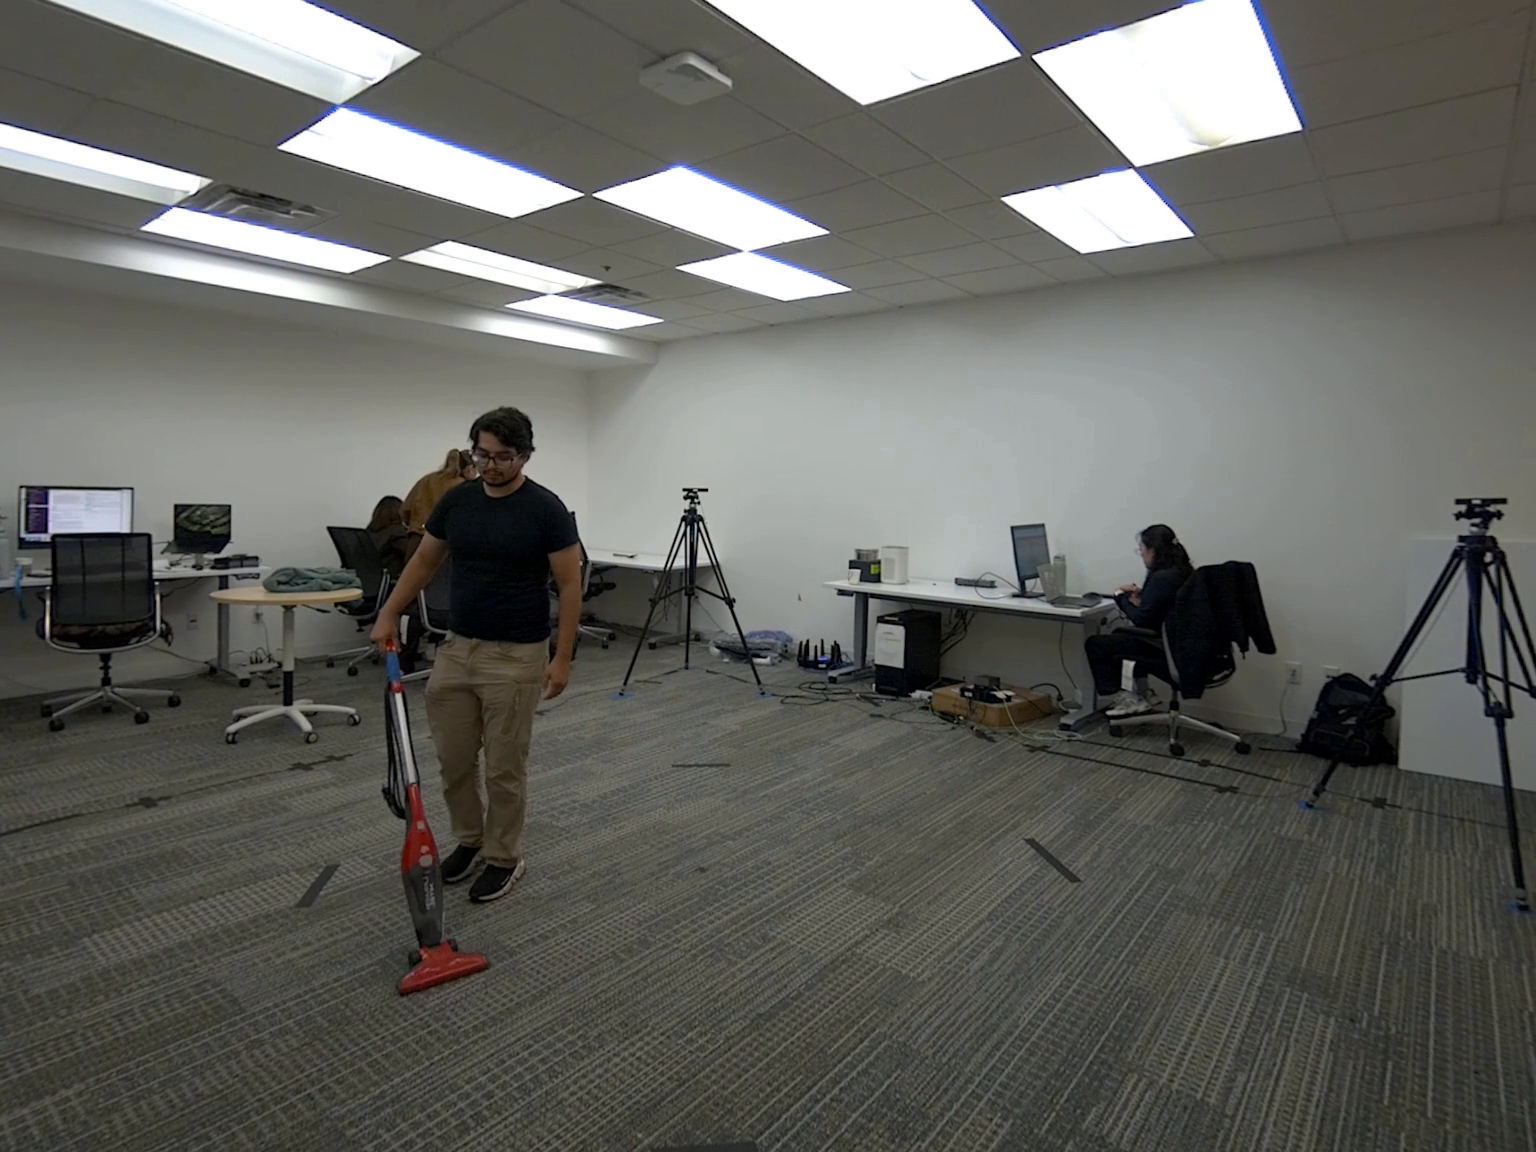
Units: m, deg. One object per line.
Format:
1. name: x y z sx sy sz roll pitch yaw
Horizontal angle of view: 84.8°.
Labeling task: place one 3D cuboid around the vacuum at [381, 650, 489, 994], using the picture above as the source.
1. vacuum: -1.128 0.668 2.638 0.245 1.080 0.144 -2 -30 -38
